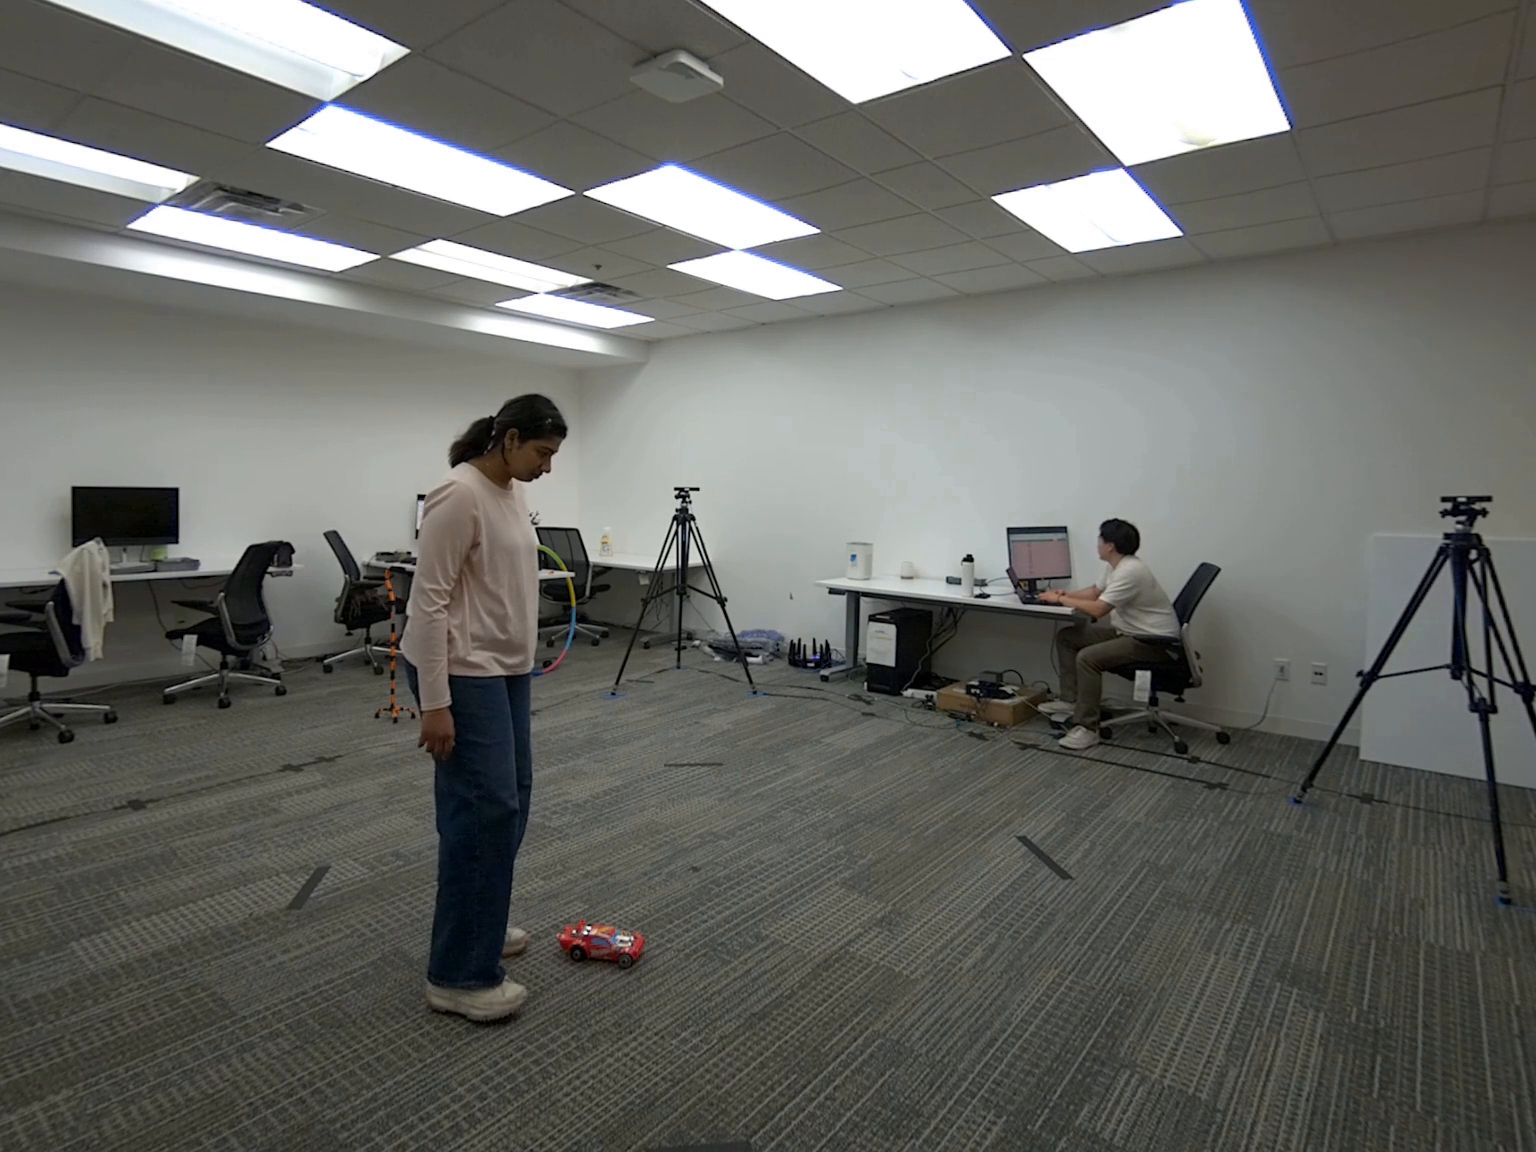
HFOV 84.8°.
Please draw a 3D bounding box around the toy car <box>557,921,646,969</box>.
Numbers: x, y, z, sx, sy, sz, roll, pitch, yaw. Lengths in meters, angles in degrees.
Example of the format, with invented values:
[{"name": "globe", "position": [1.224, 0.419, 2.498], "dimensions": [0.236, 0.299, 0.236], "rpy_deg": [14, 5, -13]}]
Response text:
[{"name": "toy car", "position": [-0.510, 1.096, 2.516], "dimensions": [0.257, 0.083, 0.129], "rpy_deg": [13, 6, 8]}]
